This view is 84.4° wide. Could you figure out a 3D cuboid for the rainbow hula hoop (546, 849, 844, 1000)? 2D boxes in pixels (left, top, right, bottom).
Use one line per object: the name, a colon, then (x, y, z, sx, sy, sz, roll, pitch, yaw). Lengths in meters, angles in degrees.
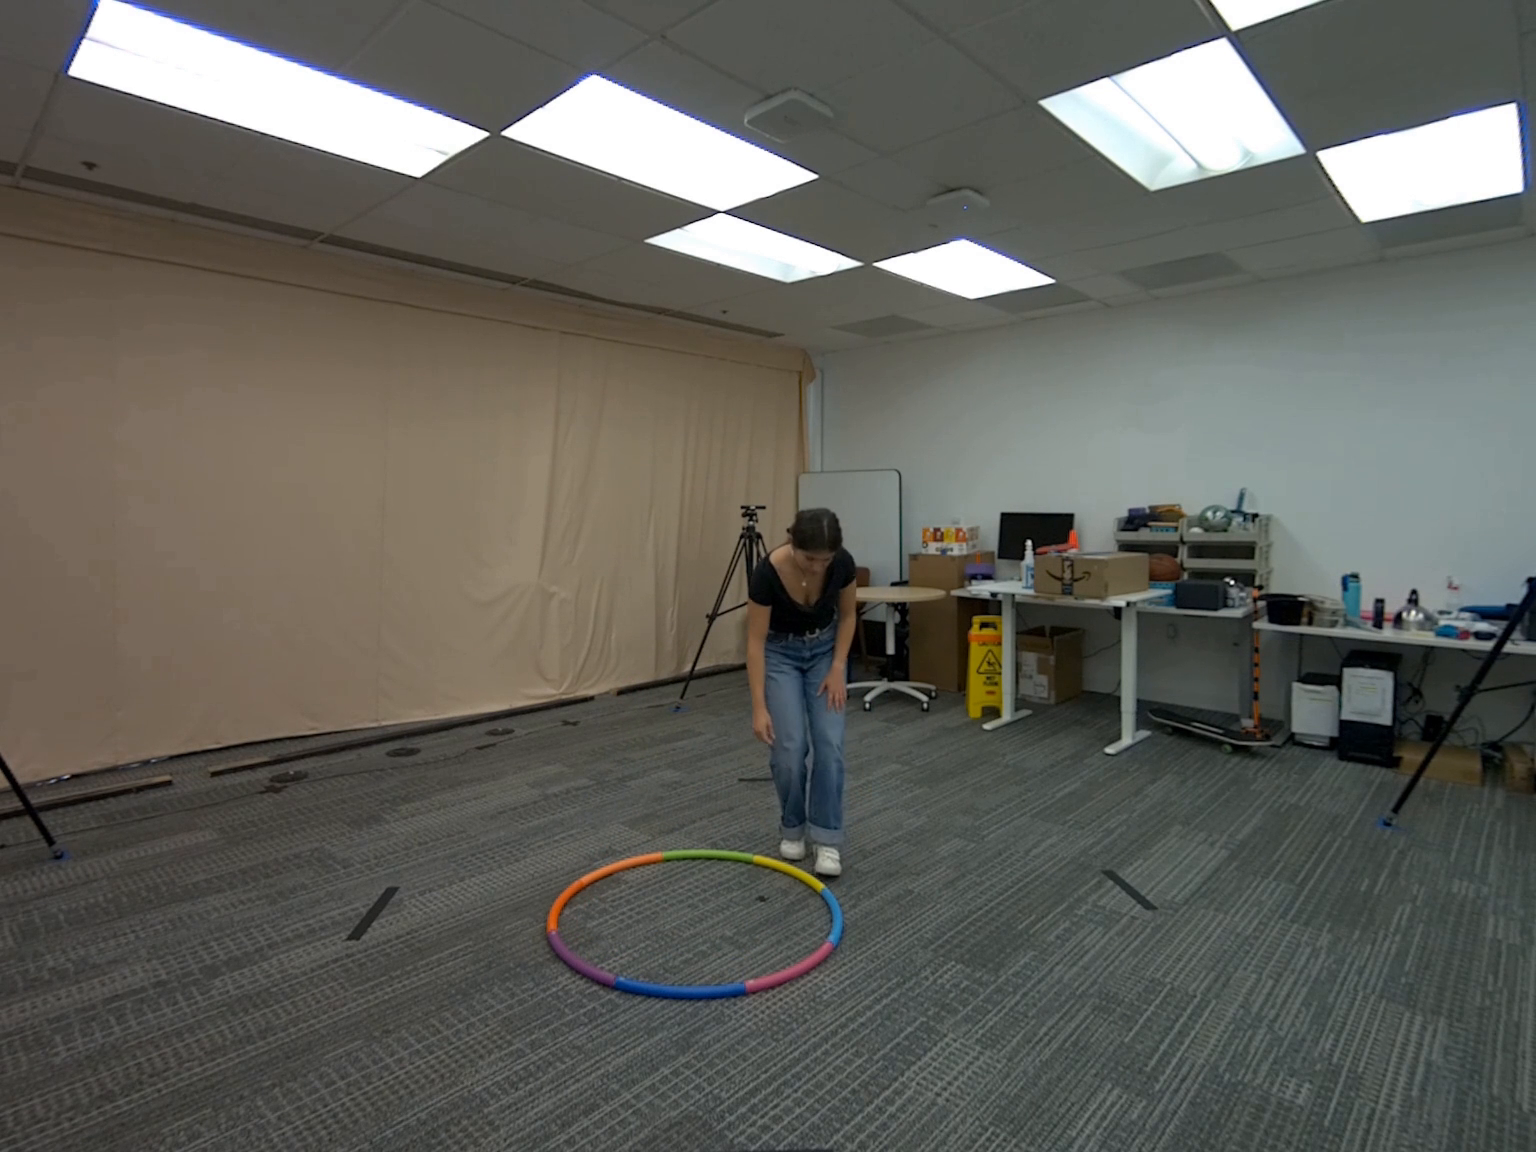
rainbow hula hoop: (-0.239, 1.129, 2.855, 0.978, 0.035, 0.982, 0, 5, -2)
